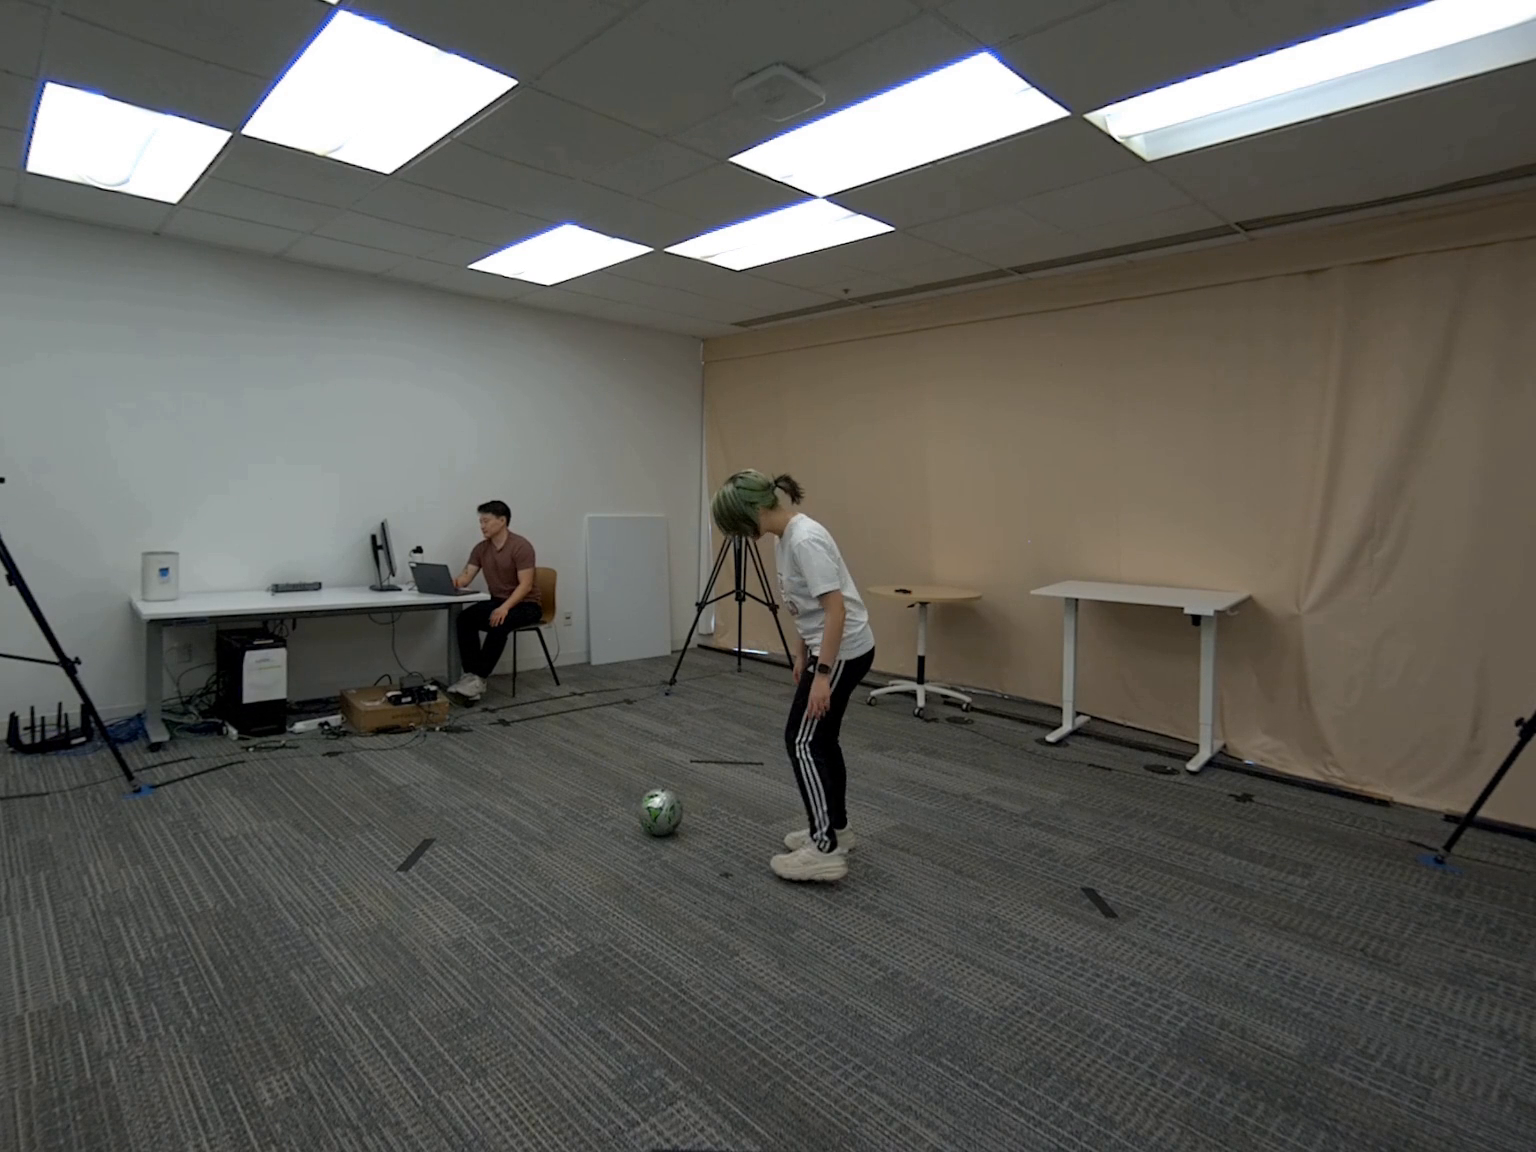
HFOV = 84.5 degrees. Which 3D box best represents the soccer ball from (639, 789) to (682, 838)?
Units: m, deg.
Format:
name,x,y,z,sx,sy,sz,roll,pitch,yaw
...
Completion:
name,x,y,z,sx,sy,sz,roll,pitch,yaw
soccer ball,-0.445,0.964,3.467,0.187,0.187,0.188,1,4,-1
